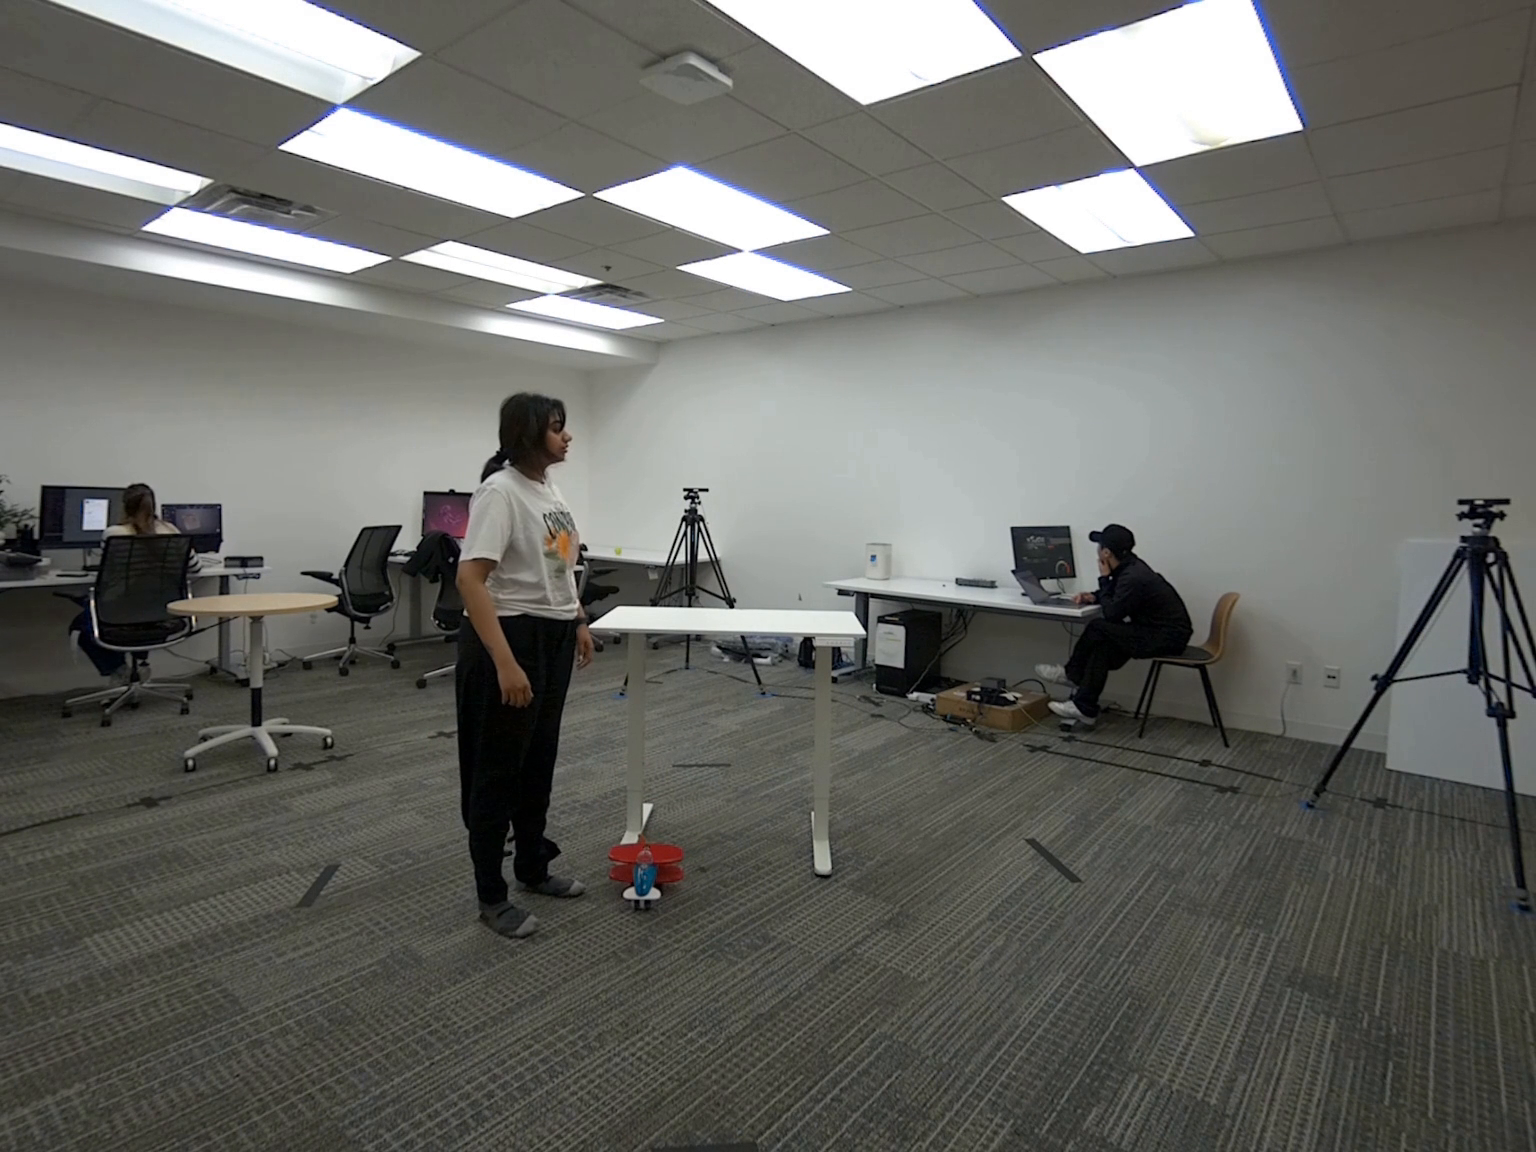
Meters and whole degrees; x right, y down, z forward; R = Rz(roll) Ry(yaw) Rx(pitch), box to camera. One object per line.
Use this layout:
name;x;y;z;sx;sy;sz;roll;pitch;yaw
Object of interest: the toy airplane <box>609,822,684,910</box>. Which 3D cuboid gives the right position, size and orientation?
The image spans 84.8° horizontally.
toy airplane;-0.407;1.028;2.886;0.244;0.155;0.268;-5;9;-33
